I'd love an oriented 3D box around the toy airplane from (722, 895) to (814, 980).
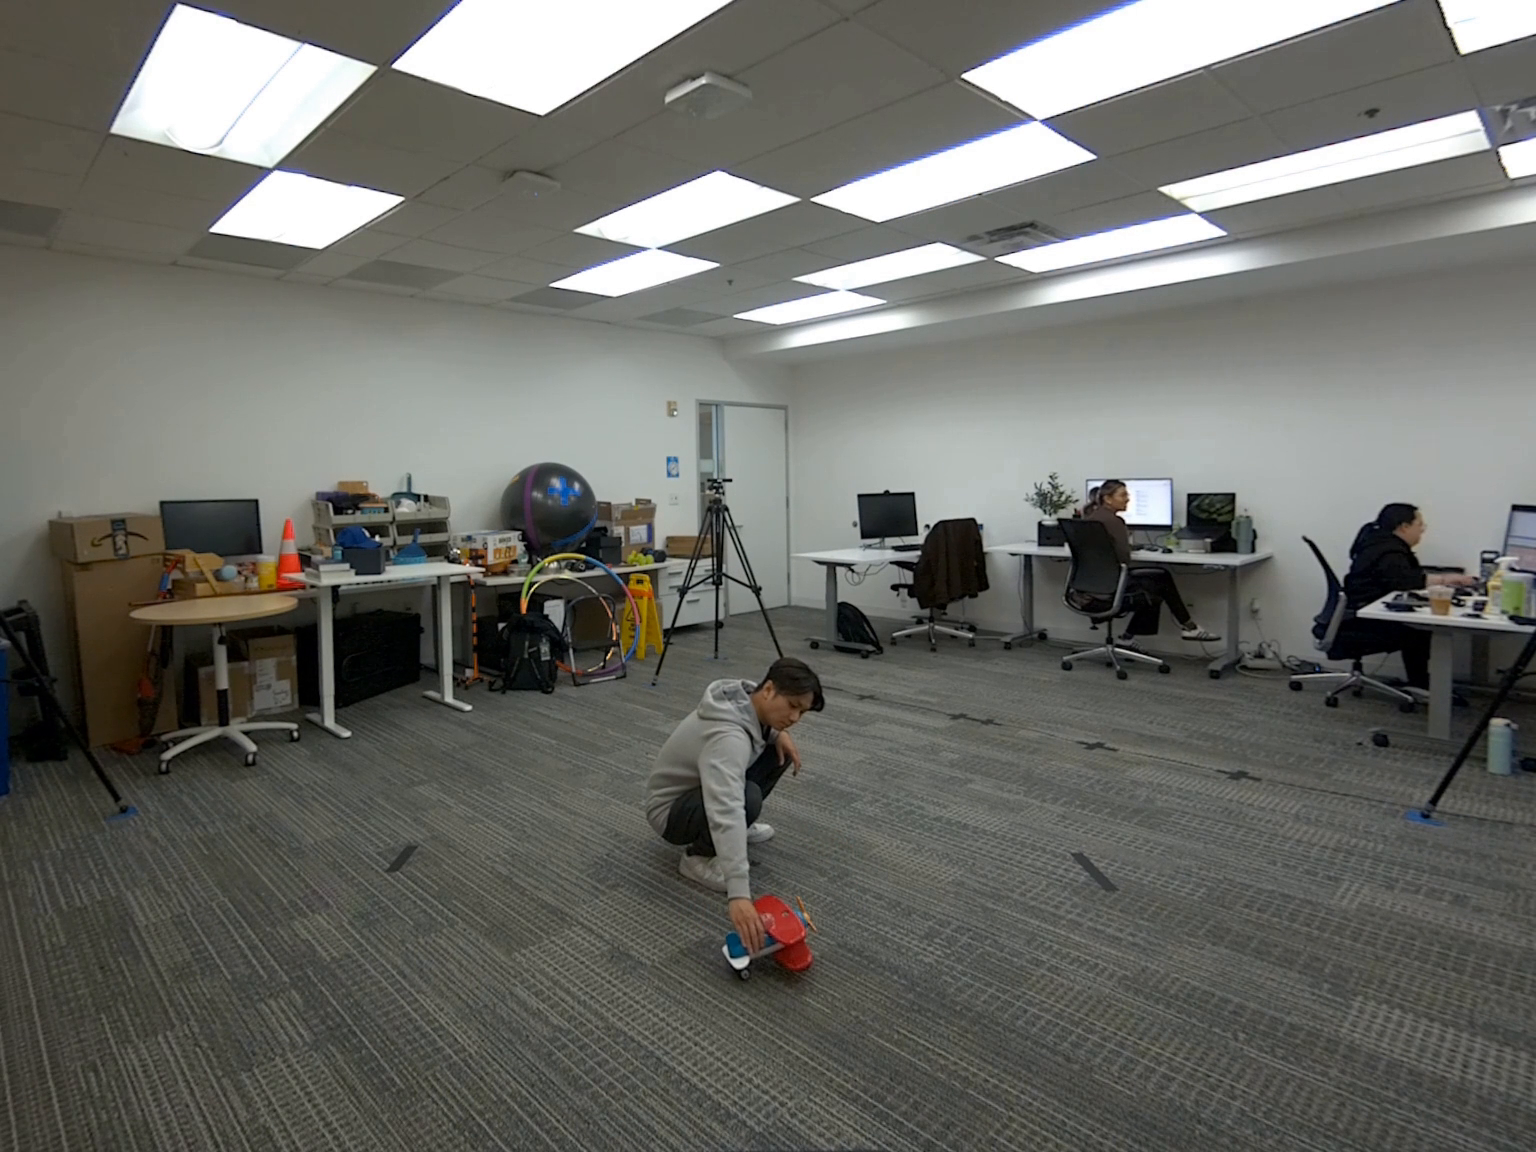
[{"bbox_3d":[0.018,1.057,2.429,0.259,0.156,0.252,3,7,41],"label":"toy airplane"}]
